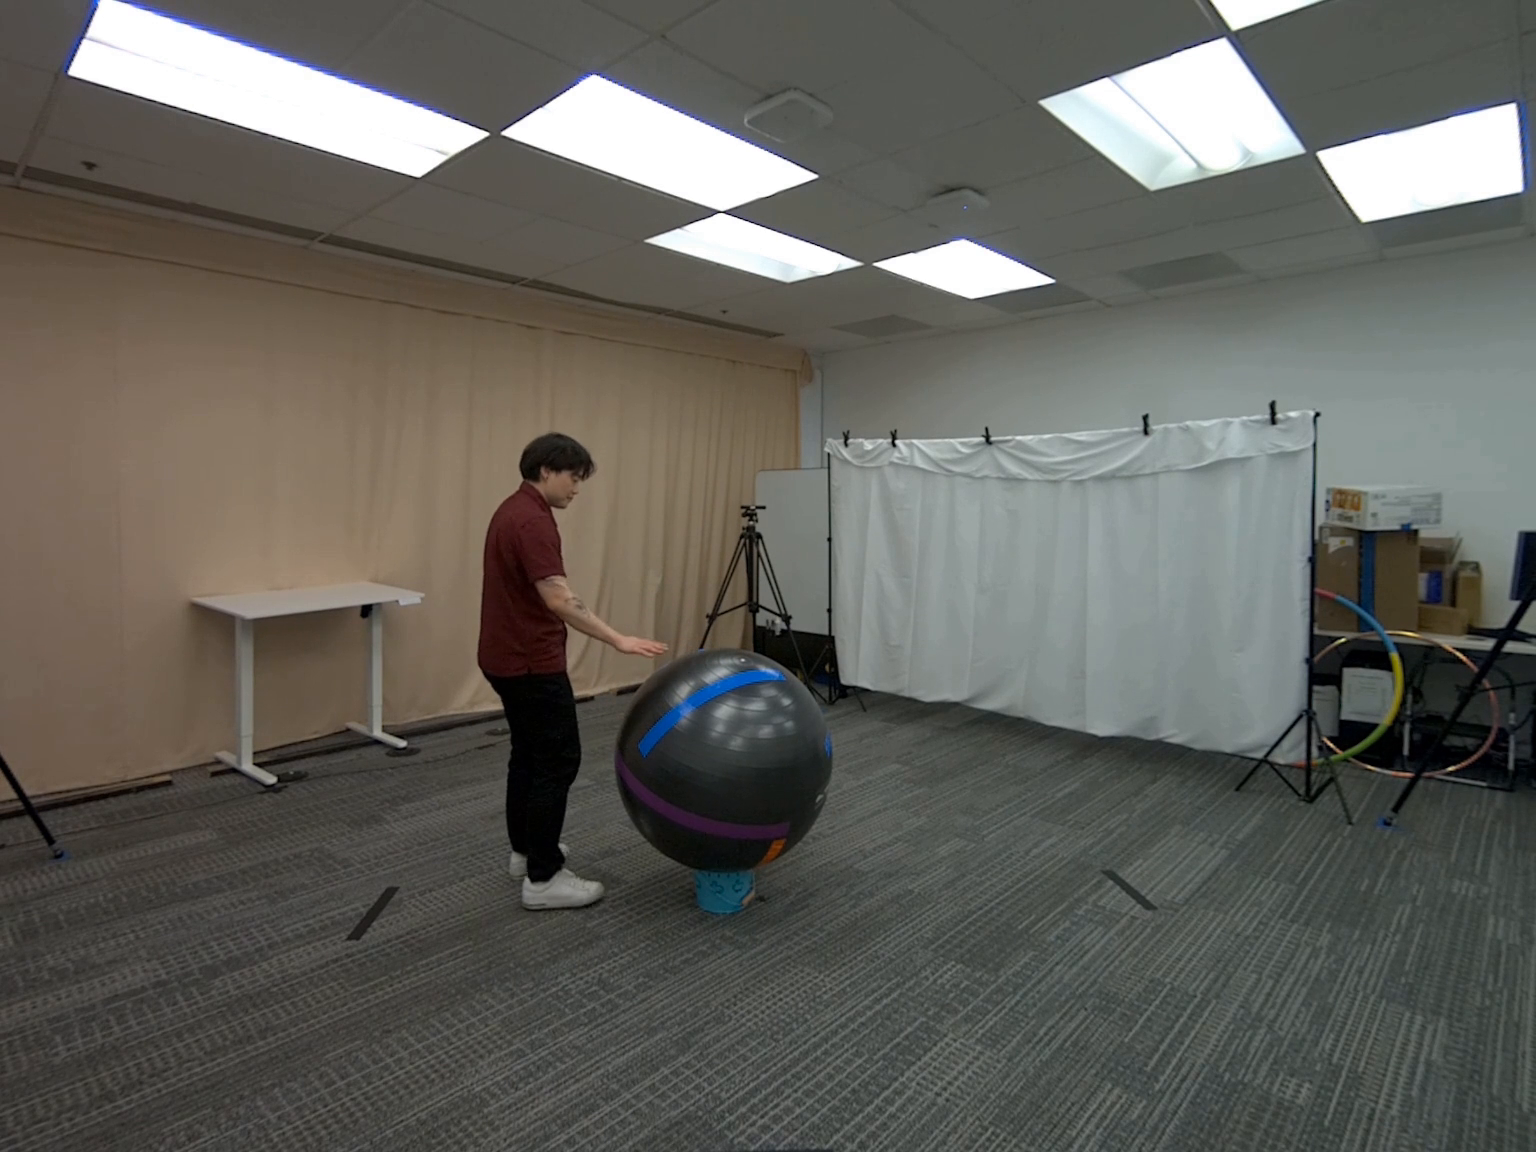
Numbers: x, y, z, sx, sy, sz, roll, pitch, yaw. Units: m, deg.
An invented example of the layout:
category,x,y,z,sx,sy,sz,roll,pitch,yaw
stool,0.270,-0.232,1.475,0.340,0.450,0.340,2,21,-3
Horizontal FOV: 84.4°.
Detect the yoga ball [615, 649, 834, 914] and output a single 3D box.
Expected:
category,x,y,z,sx,sy,sz,roll,pitch,yaw
yoga ball,-0.147,0.637,2.943,0.757,0.756,0.760,0,4,-2
